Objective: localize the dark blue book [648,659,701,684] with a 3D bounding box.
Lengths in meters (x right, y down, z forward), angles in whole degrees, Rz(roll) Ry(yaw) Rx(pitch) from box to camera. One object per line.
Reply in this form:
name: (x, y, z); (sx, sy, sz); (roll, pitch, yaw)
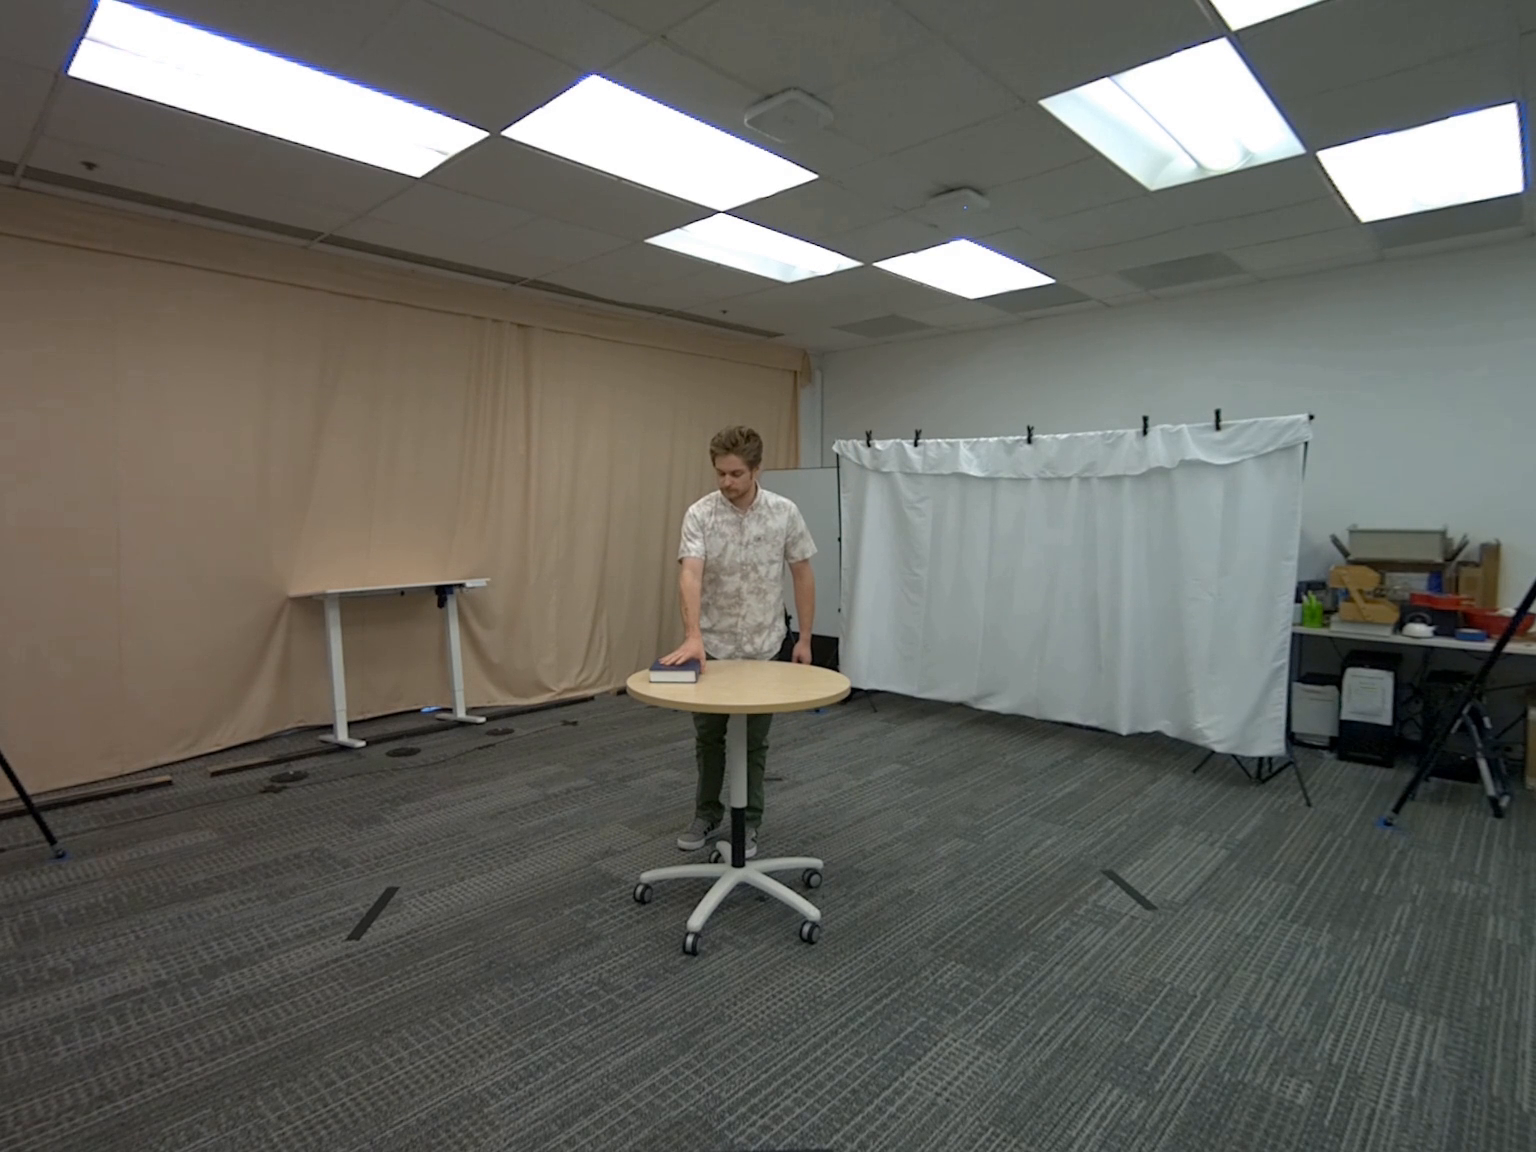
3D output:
dark blue book: (-0.323, 0.326, 2.964); (0.164, 0.045, 0.245); (-1, 5, 2)
